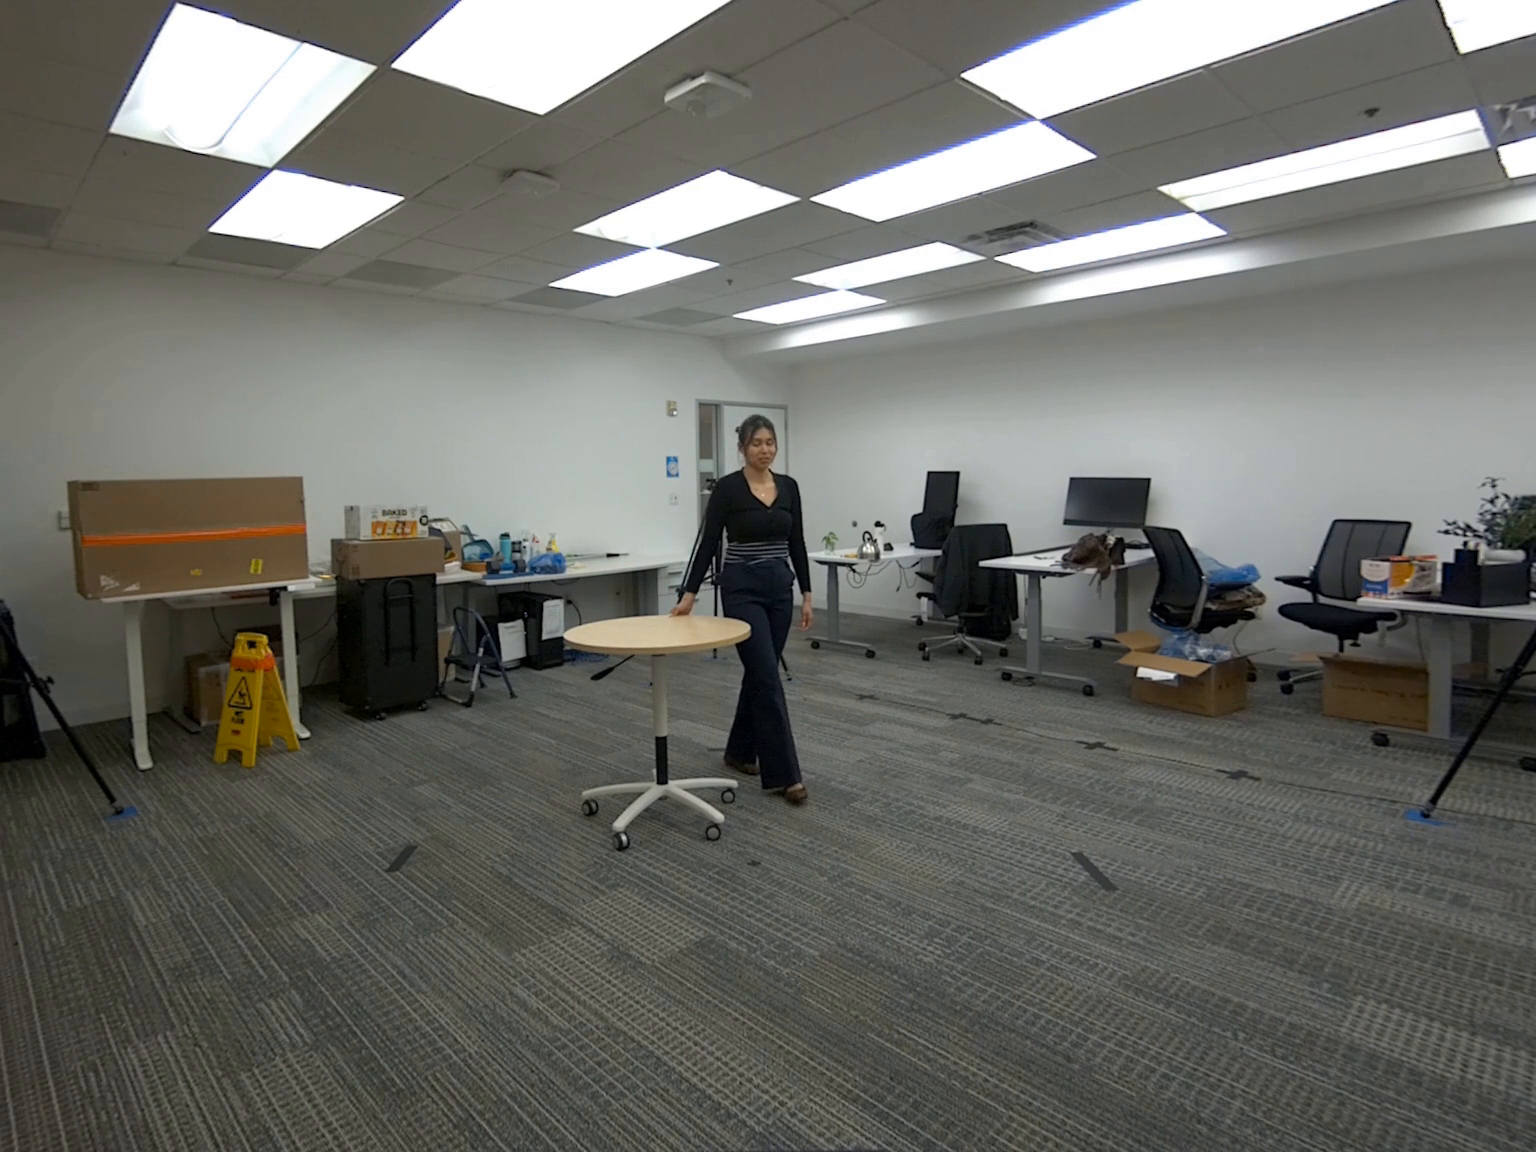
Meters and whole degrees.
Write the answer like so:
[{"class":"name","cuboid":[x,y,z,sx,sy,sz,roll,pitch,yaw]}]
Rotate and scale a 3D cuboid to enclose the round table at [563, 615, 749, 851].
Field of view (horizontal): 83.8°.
[{"class":"round table","cuboid":[-0.449,0.615,3.530,0.763,0.791,0.767,-2,4,-2]}]
